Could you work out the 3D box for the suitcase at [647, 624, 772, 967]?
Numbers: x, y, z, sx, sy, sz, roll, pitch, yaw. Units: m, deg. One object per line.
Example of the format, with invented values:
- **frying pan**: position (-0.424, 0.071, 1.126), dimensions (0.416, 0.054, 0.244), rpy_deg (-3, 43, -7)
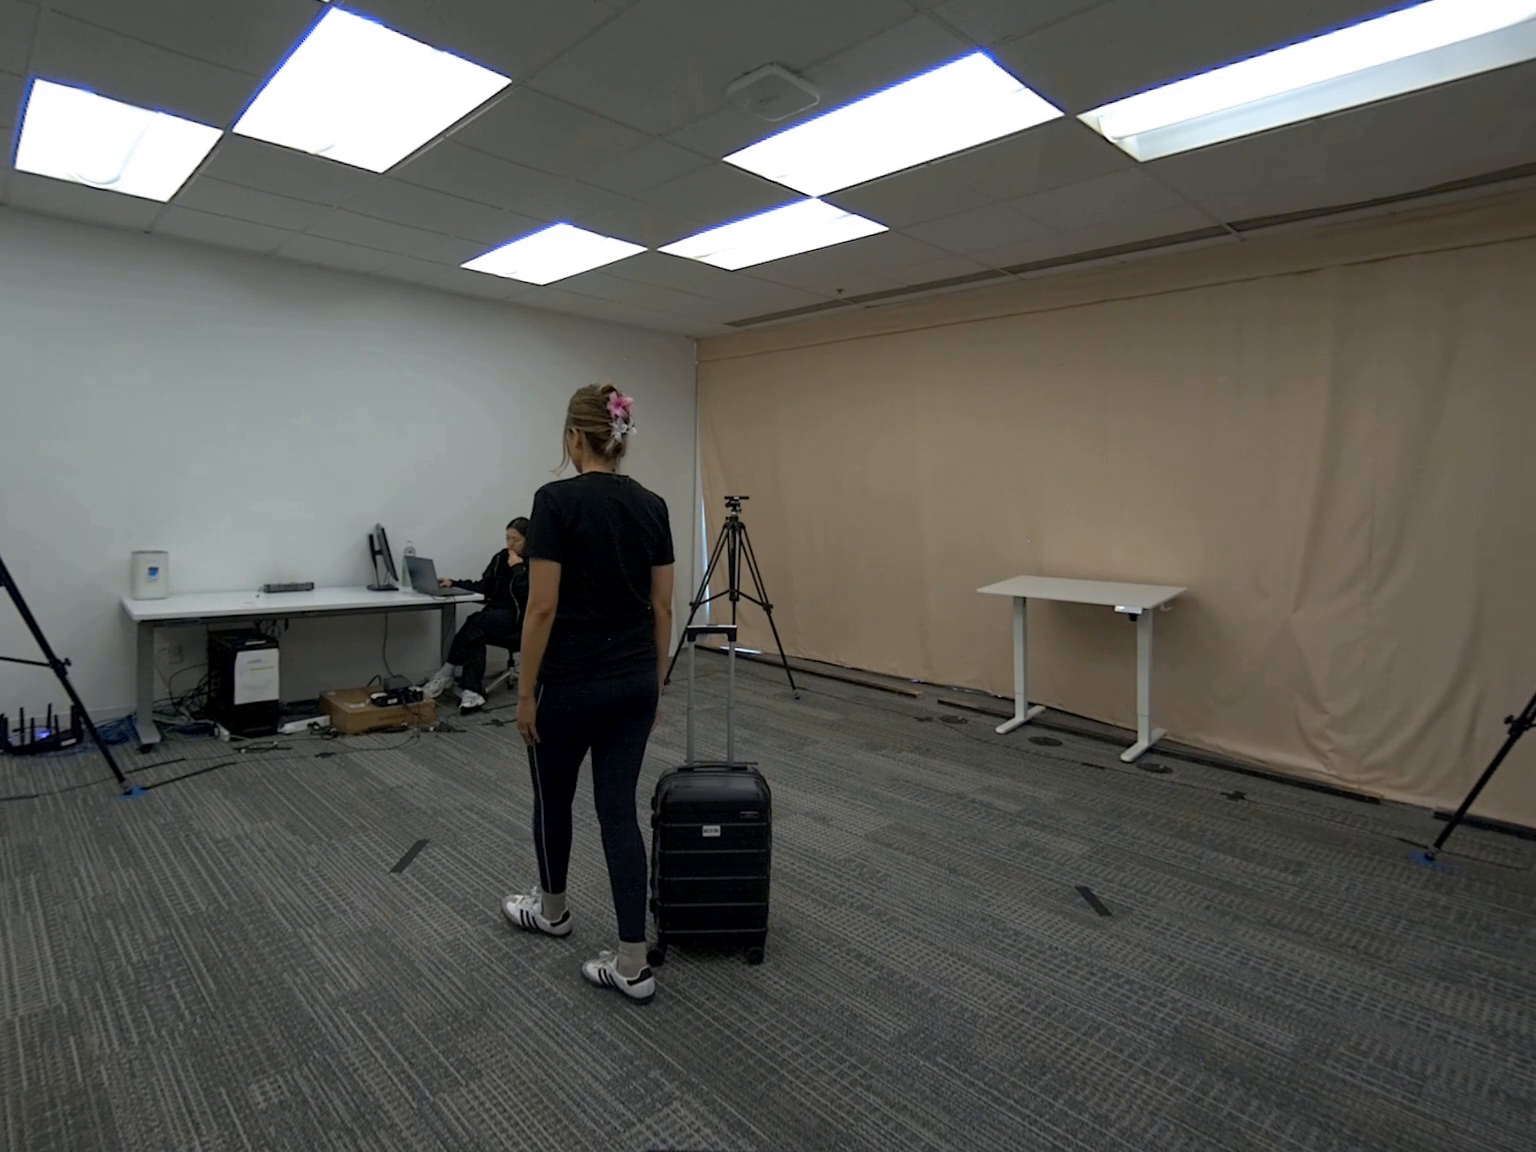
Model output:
- **suitcase**: position (-0.175, 0.674, 2.594), dimensions (0.383, 0.974, 0.258), rpy_deg (0, 6, -2)
